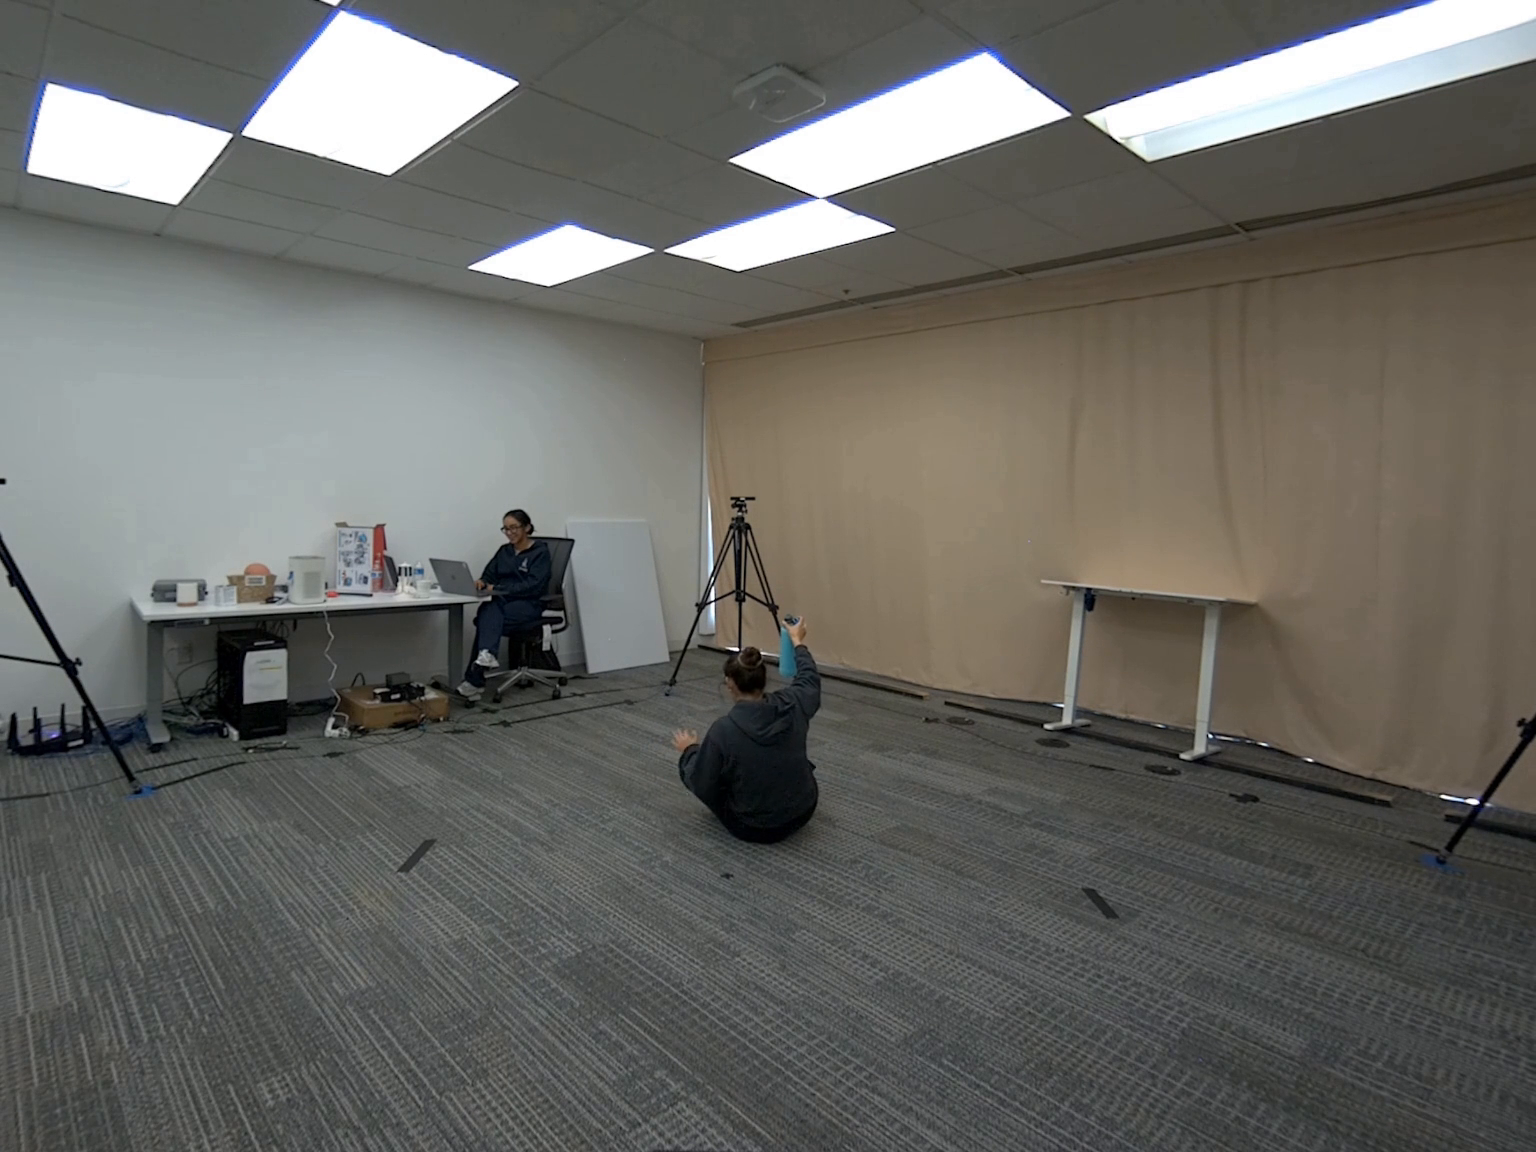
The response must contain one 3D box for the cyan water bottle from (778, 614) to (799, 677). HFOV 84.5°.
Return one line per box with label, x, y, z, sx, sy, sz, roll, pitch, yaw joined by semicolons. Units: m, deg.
cyan water bottle;0.086;0.322;3.941;0.092;0.282;0.093;1;8;-2
